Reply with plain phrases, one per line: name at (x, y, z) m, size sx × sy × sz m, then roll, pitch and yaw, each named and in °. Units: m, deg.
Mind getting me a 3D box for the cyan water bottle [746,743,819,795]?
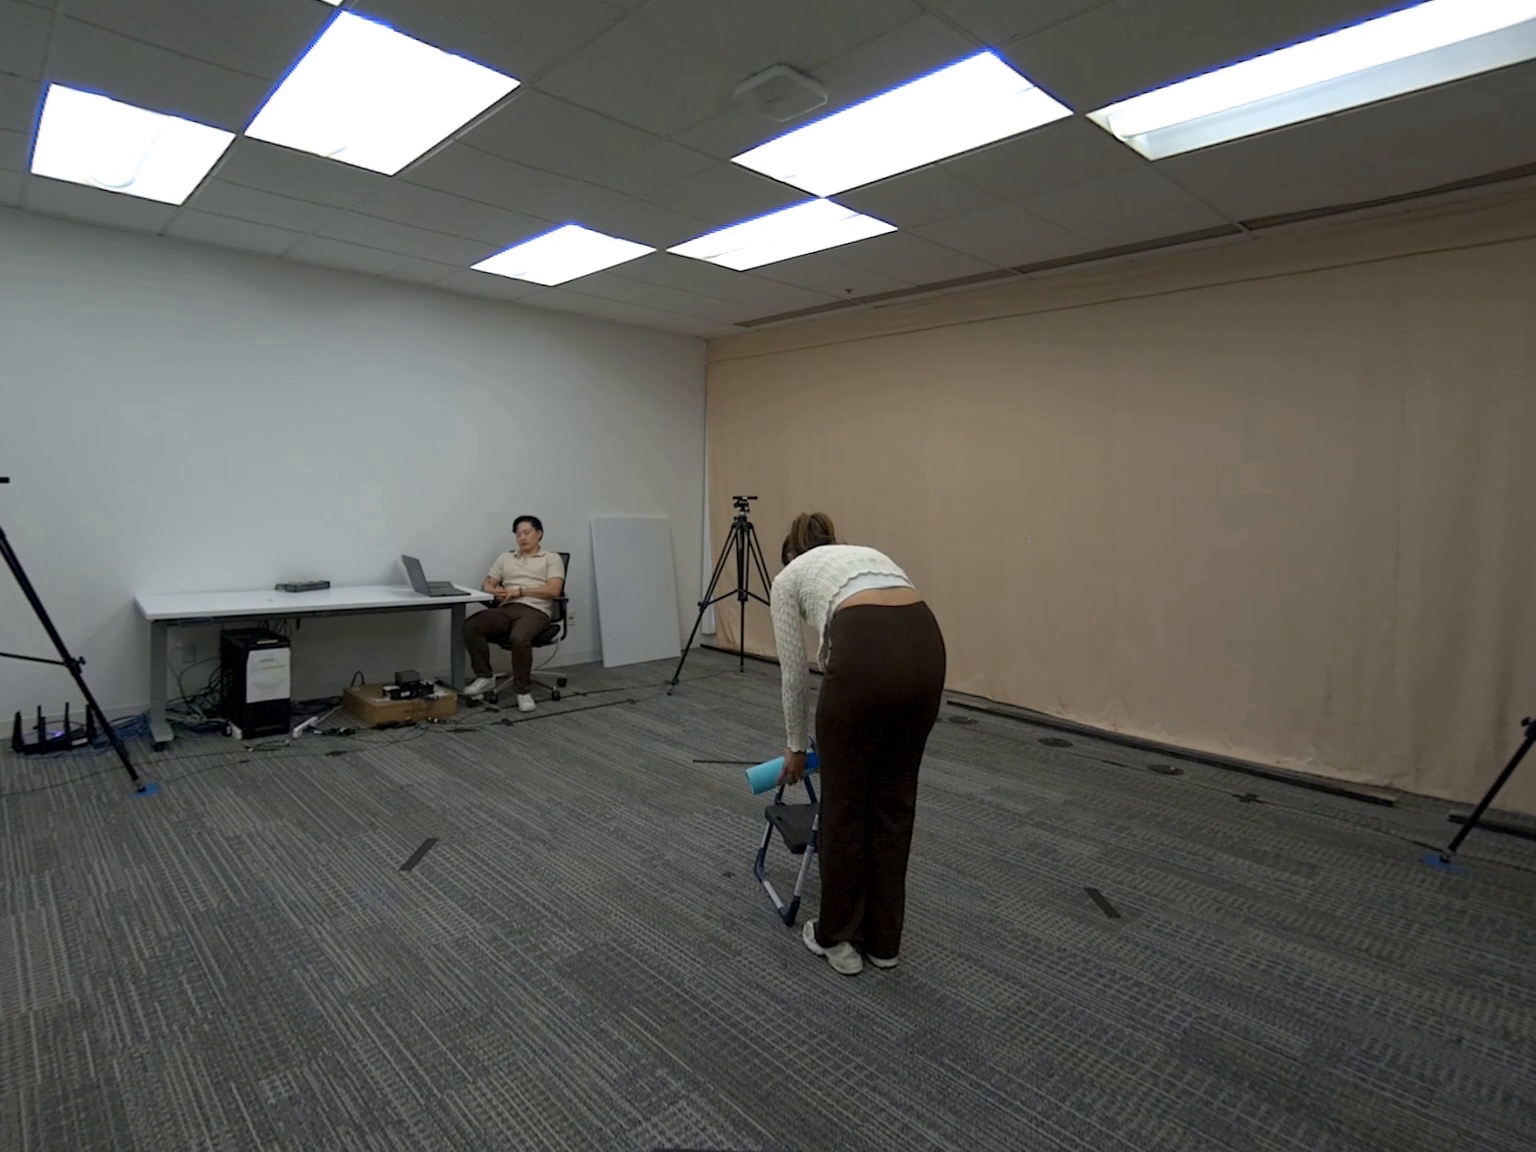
cyan water bottle at (0.069, 0.660, 2.883) m, size 0.282 × 0.092 × 0.093 m, roll -17°, pitch 8°, yaw -11°
